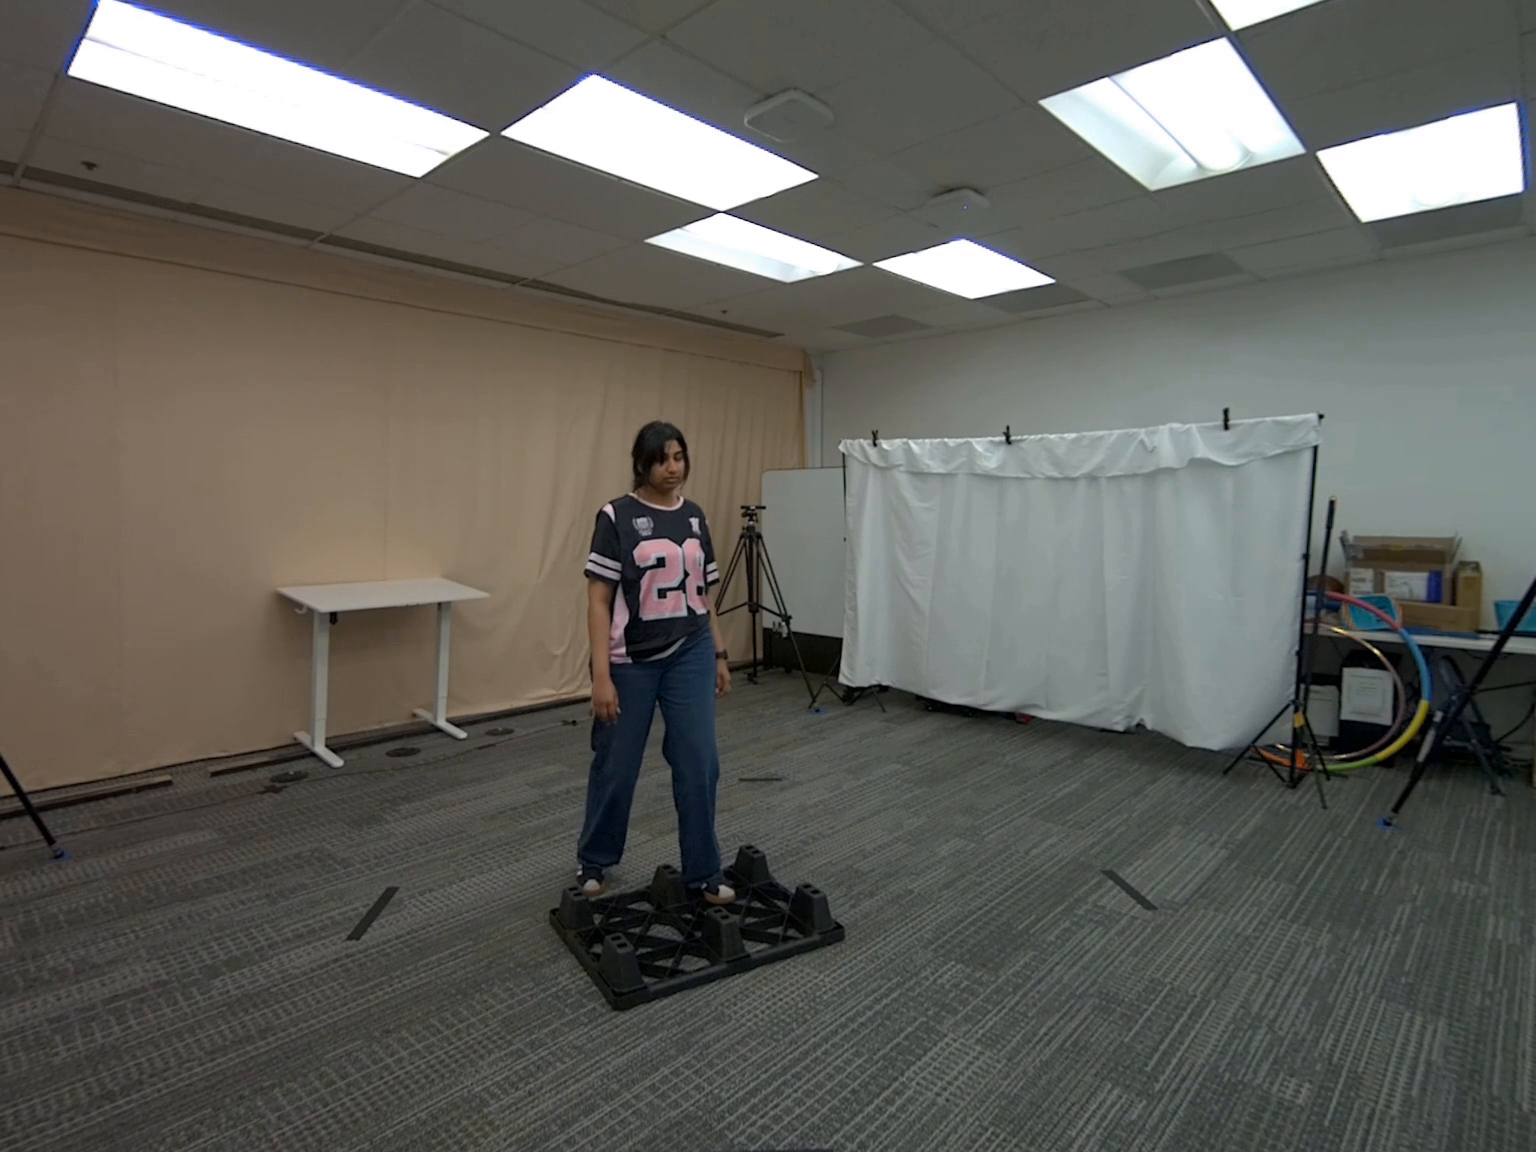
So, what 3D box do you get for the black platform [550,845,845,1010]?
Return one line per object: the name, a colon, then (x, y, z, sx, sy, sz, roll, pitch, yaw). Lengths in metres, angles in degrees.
black platform: (-0.236, 1.099, 2.766, 0.784, 0.143, 0.623, -3, 6, -31)
